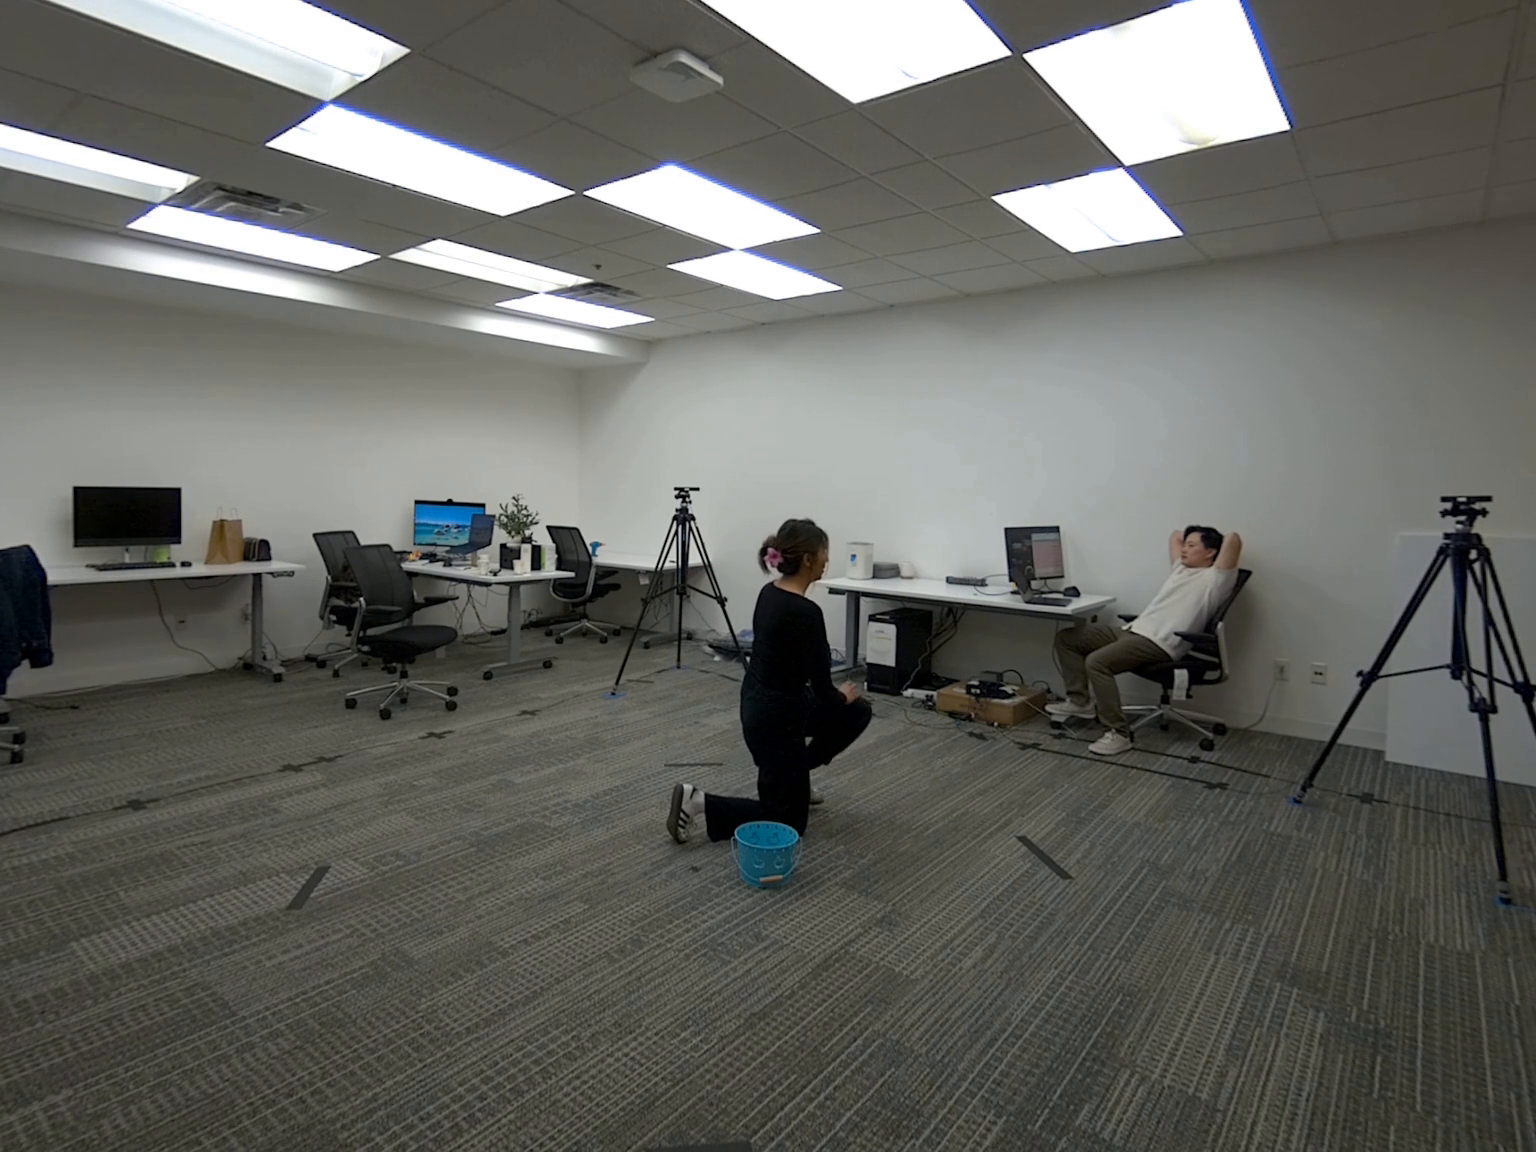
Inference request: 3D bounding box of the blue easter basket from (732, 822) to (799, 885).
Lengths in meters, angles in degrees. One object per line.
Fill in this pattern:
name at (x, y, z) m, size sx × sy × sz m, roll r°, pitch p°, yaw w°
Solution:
blue easter basket at (-0.020, 0.999, 3.050) m, size 0.243 × 0.155 × 0.245 m, roll 1°, pitch 5°, yaw -2°
